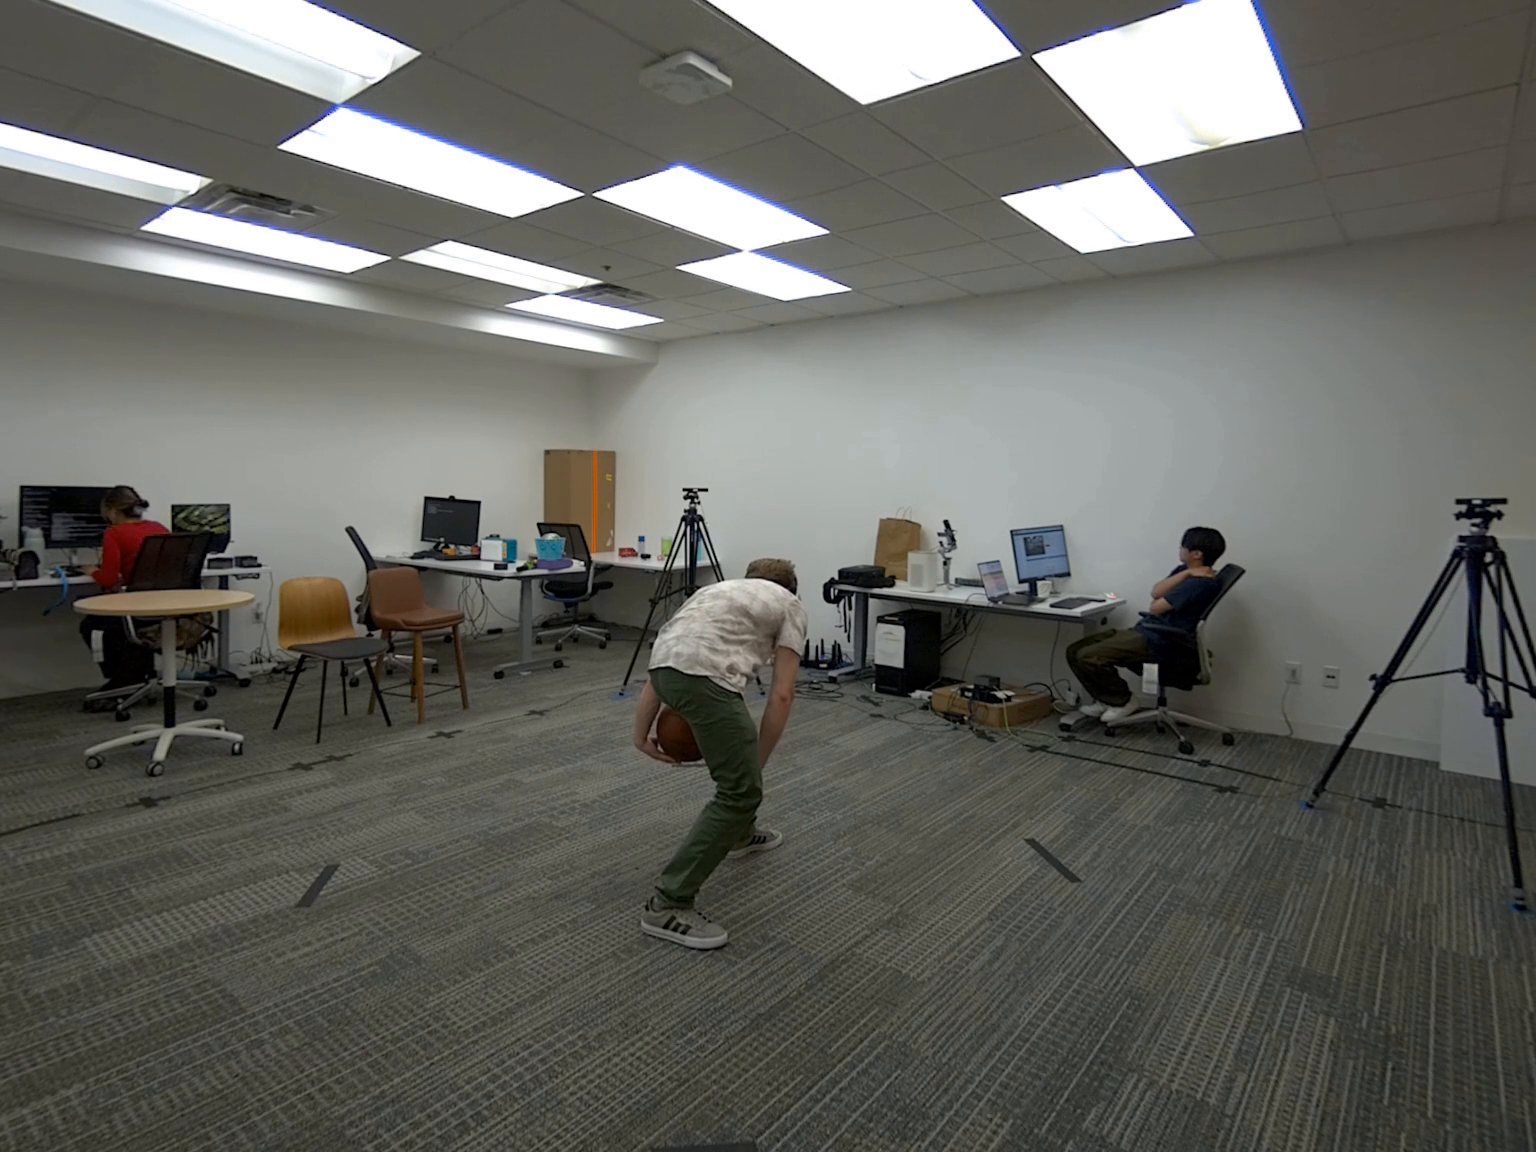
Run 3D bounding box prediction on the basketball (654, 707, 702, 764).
[{"bbox_3d":[-0.312,0.565,3.161,0.235,0.235,0.237,1,4,-2],"label":"basketball"}]
